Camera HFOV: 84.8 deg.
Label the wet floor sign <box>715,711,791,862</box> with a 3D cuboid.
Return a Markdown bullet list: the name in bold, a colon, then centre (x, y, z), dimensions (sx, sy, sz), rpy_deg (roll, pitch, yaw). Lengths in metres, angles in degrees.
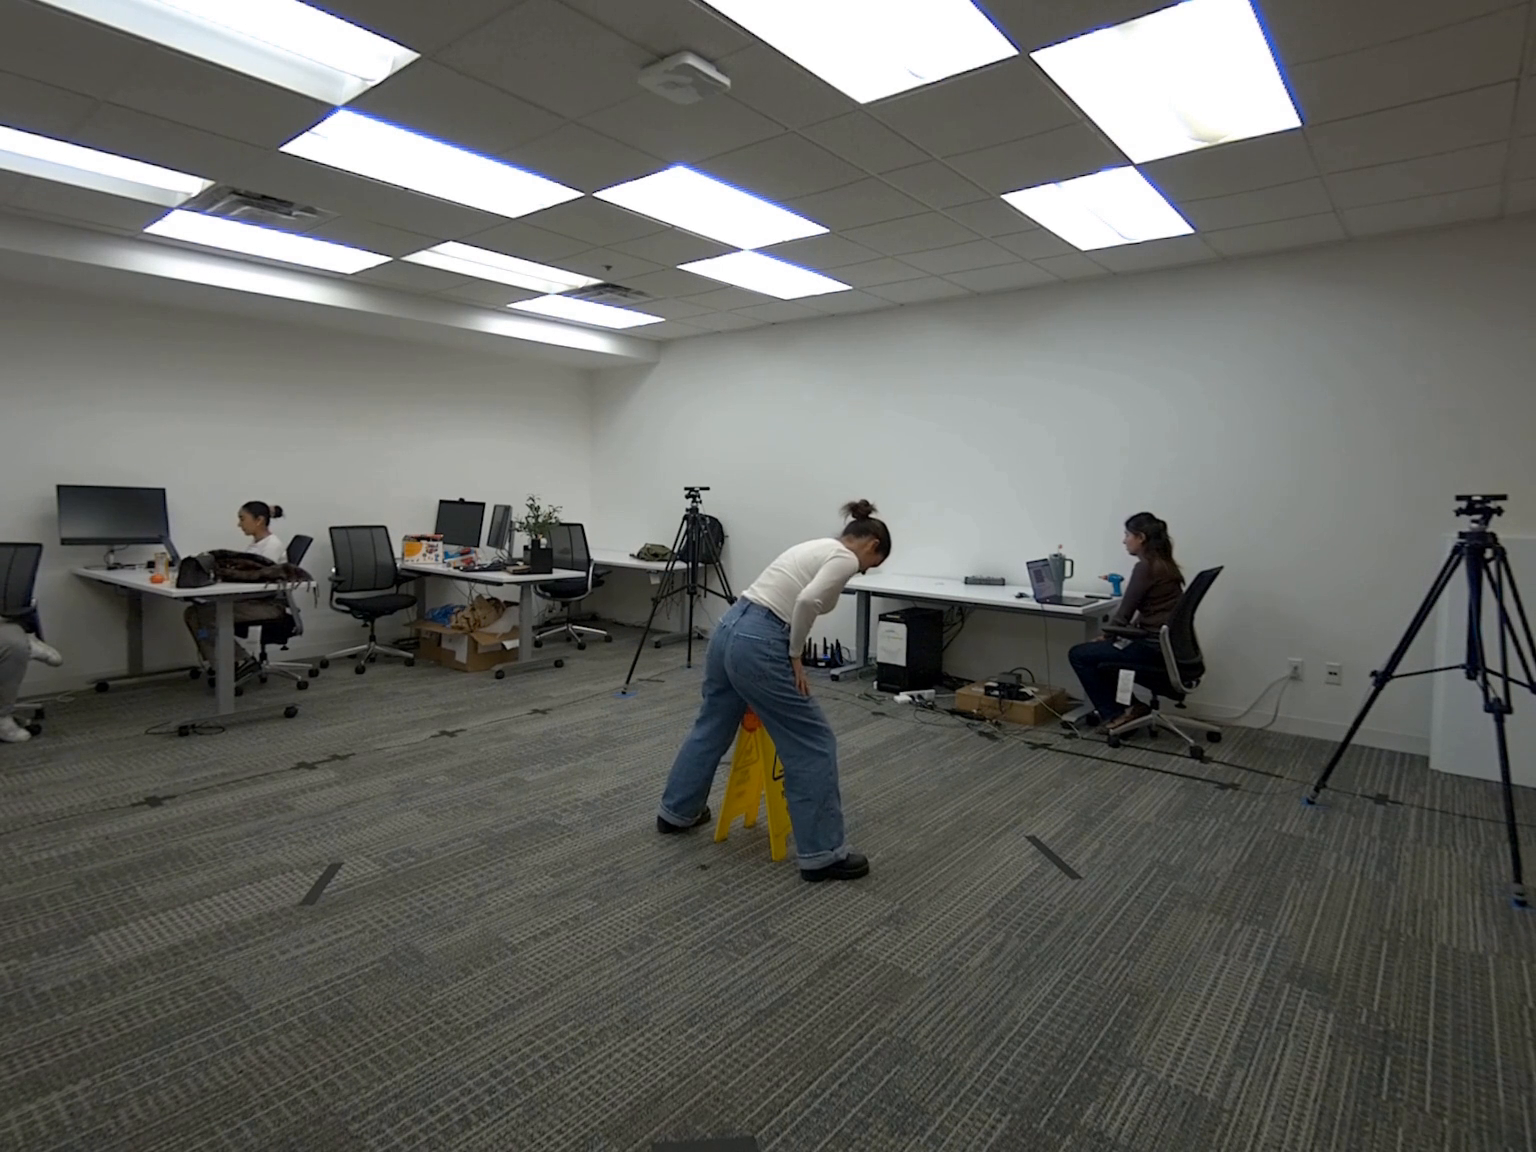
- **wet floor sign**: centre (-0.013, 0.726, 3.348), dimensions (0.299, 0.644, 0.274), rpy_deg (4, 3, 35)
